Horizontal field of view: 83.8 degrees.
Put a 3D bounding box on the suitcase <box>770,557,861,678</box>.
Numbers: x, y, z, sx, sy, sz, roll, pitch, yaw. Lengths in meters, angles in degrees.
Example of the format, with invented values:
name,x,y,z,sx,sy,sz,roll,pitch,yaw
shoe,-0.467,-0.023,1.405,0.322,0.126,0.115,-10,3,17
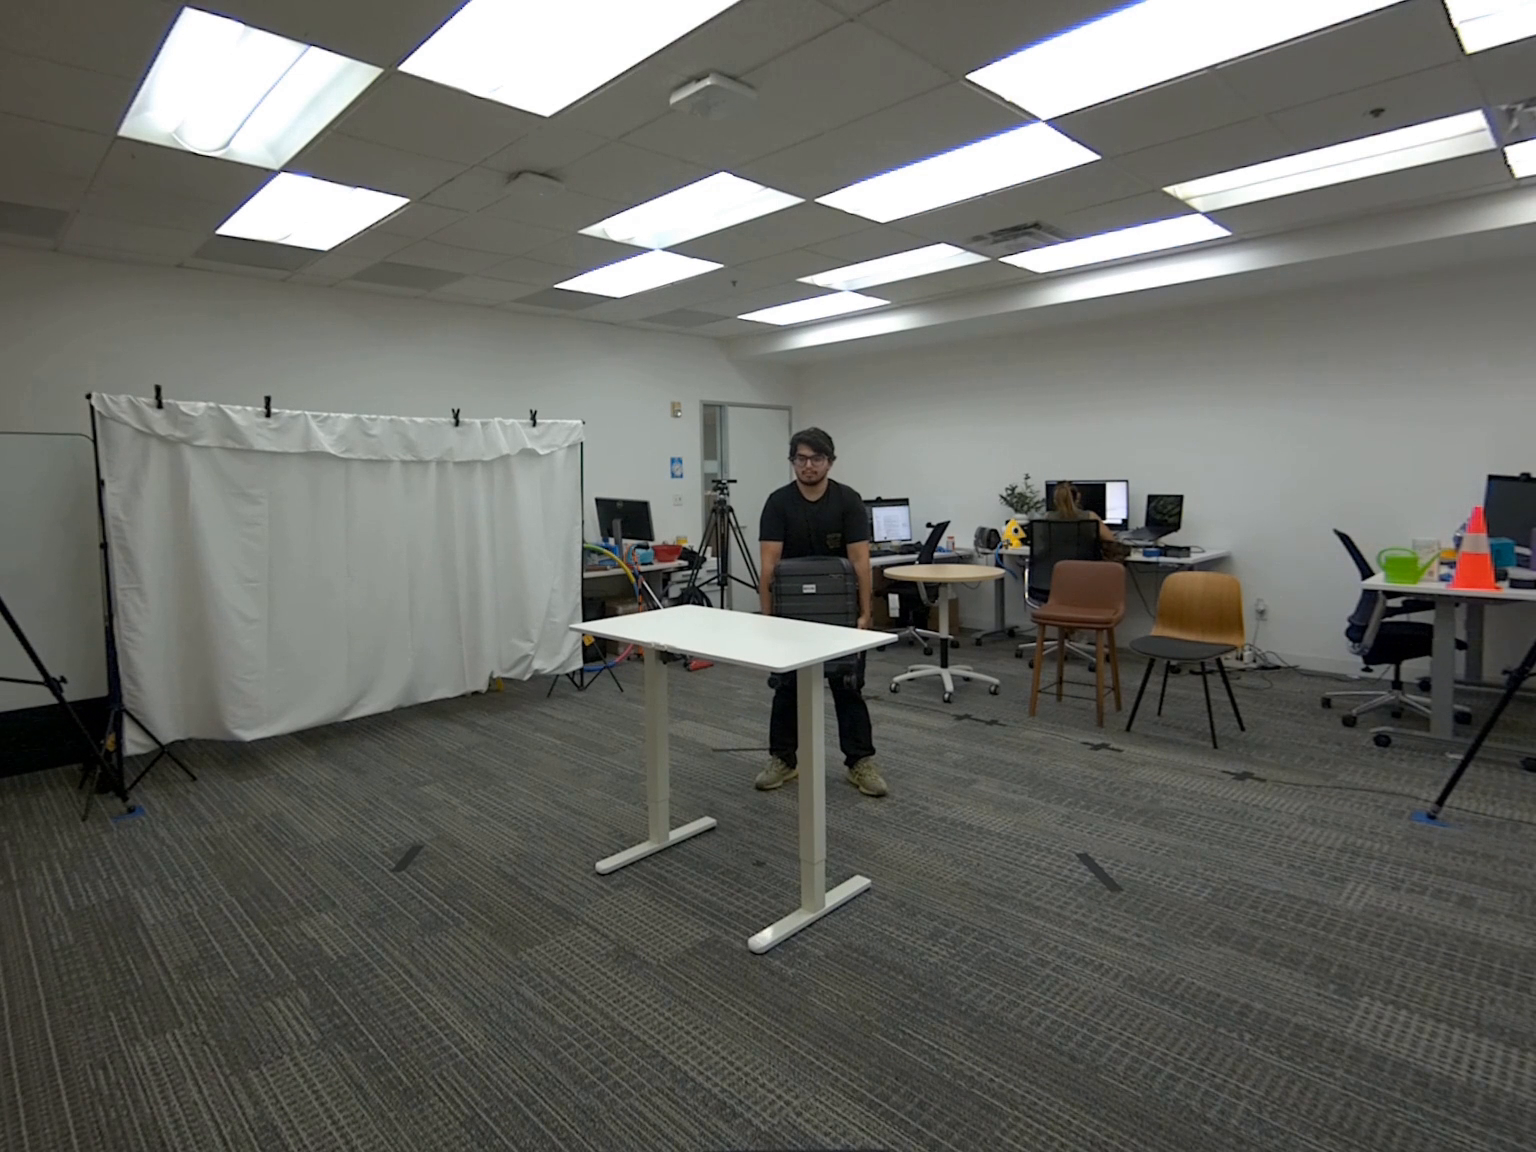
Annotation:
name,x,y,z,sx,sy,sz,roll,pitch,yaw
suitcase,0.201,0.193,3.643,0.379,0.552,0.245,-1,-5,9
